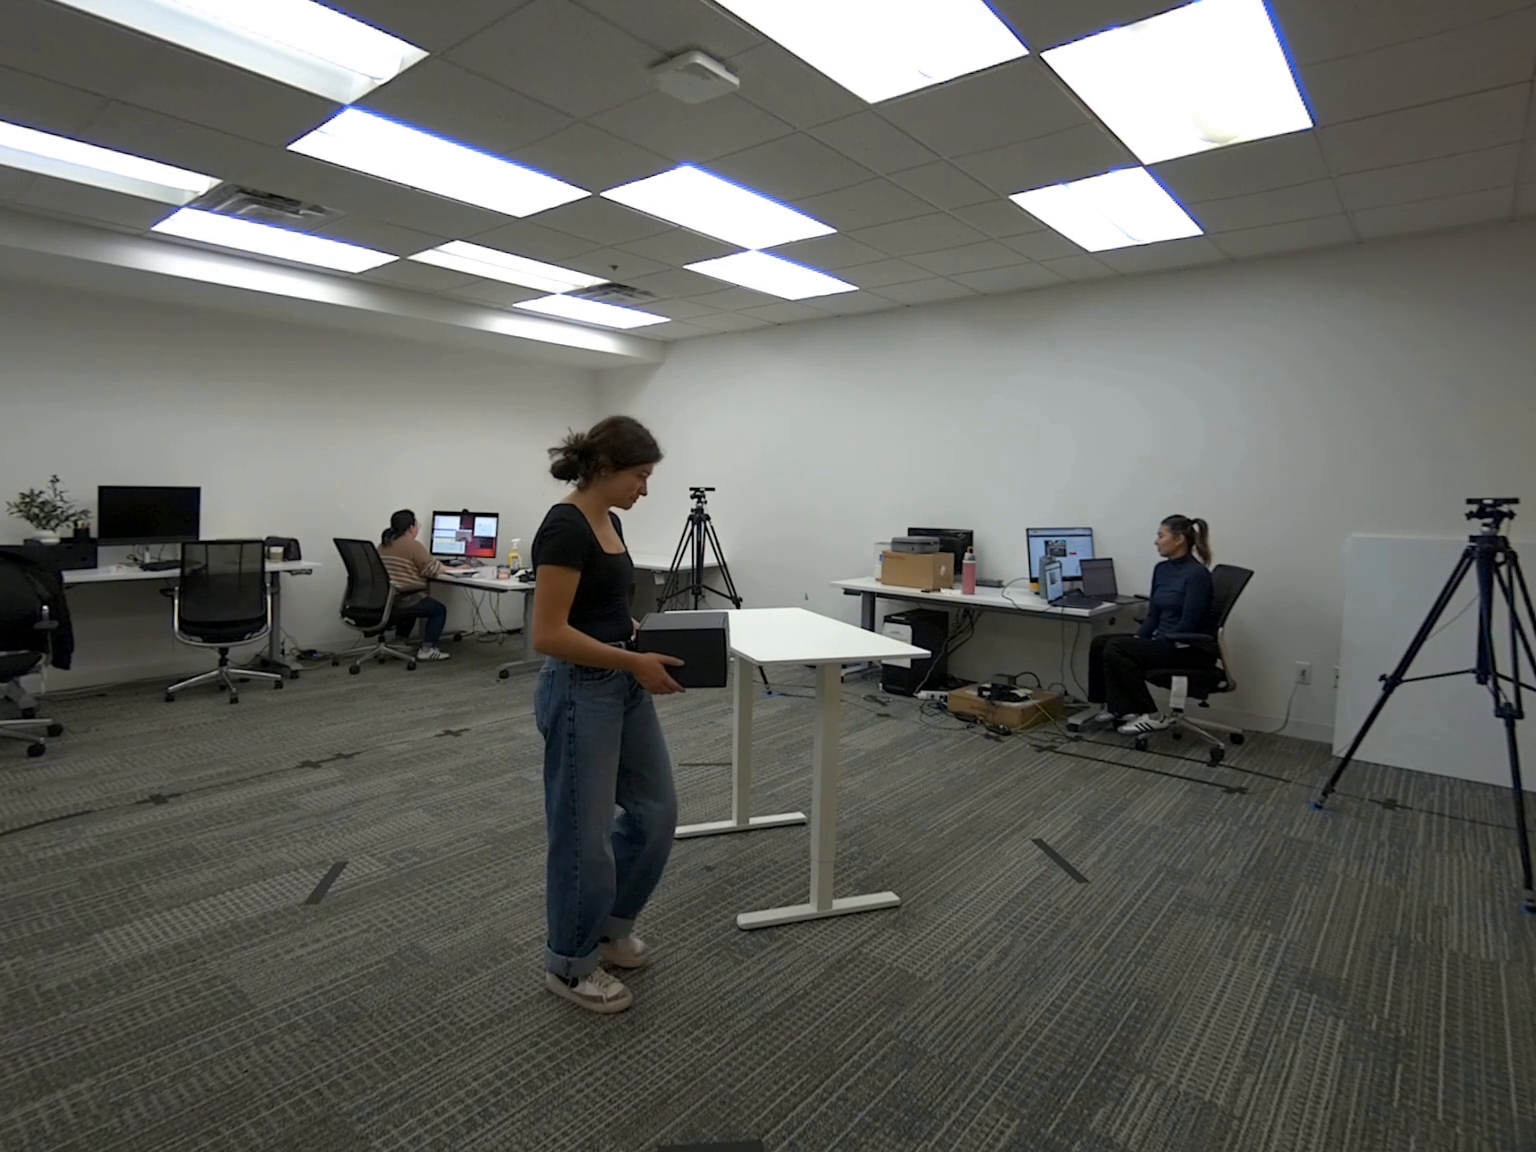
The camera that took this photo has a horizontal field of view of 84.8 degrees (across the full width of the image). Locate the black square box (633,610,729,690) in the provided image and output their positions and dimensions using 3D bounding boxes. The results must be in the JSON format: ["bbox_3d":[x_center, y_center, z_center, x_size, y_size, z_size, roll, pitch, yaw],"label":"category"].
[{"bbox_3d":[-0.227,0.189,2.264,0.229,0.155,0.218,-3,9,3],"label":"black square box"}]
